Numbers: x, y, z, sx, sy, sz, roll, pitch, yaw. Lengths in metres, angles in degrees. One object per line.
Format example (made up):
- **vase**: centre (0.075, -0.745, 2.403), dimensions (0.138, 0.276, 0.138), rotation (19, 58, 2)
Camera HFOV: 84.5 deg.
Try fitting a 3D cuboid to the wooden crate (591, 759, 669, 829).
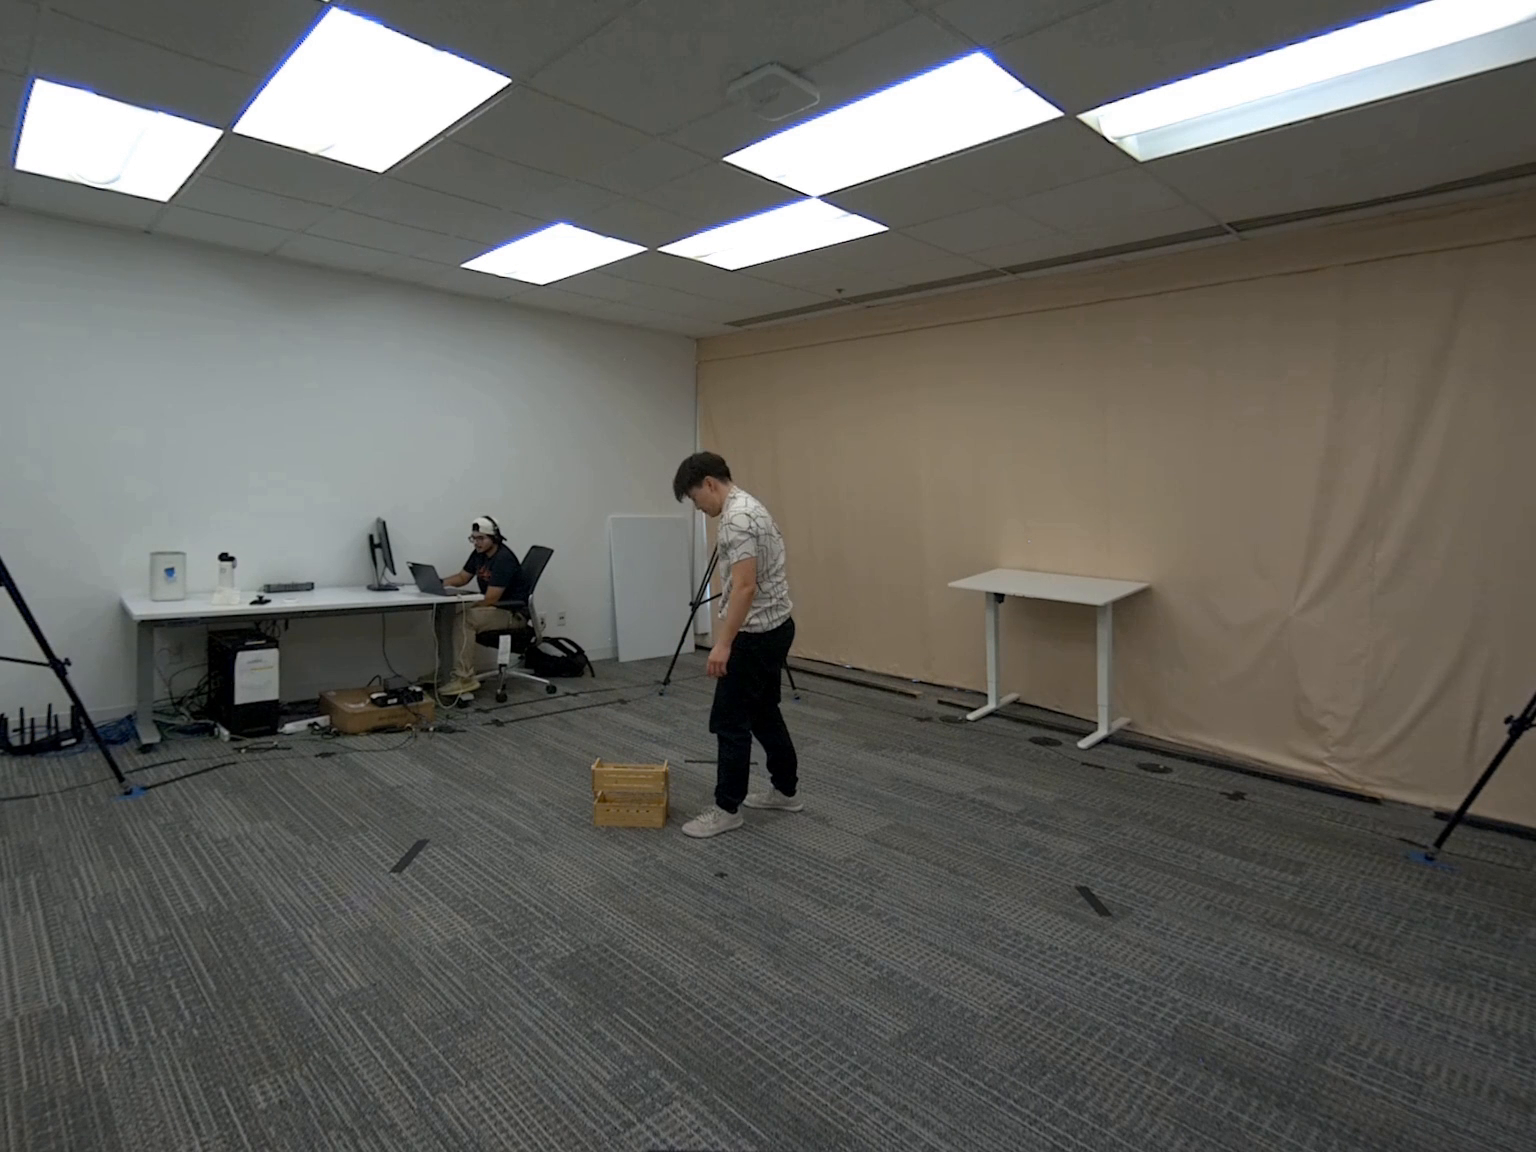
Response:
- **wooden crate**: centre (-0.595, 0.913, 3.637), dimensions (0.324, 0.272, 0.303), rotation (1, 4, -2)
